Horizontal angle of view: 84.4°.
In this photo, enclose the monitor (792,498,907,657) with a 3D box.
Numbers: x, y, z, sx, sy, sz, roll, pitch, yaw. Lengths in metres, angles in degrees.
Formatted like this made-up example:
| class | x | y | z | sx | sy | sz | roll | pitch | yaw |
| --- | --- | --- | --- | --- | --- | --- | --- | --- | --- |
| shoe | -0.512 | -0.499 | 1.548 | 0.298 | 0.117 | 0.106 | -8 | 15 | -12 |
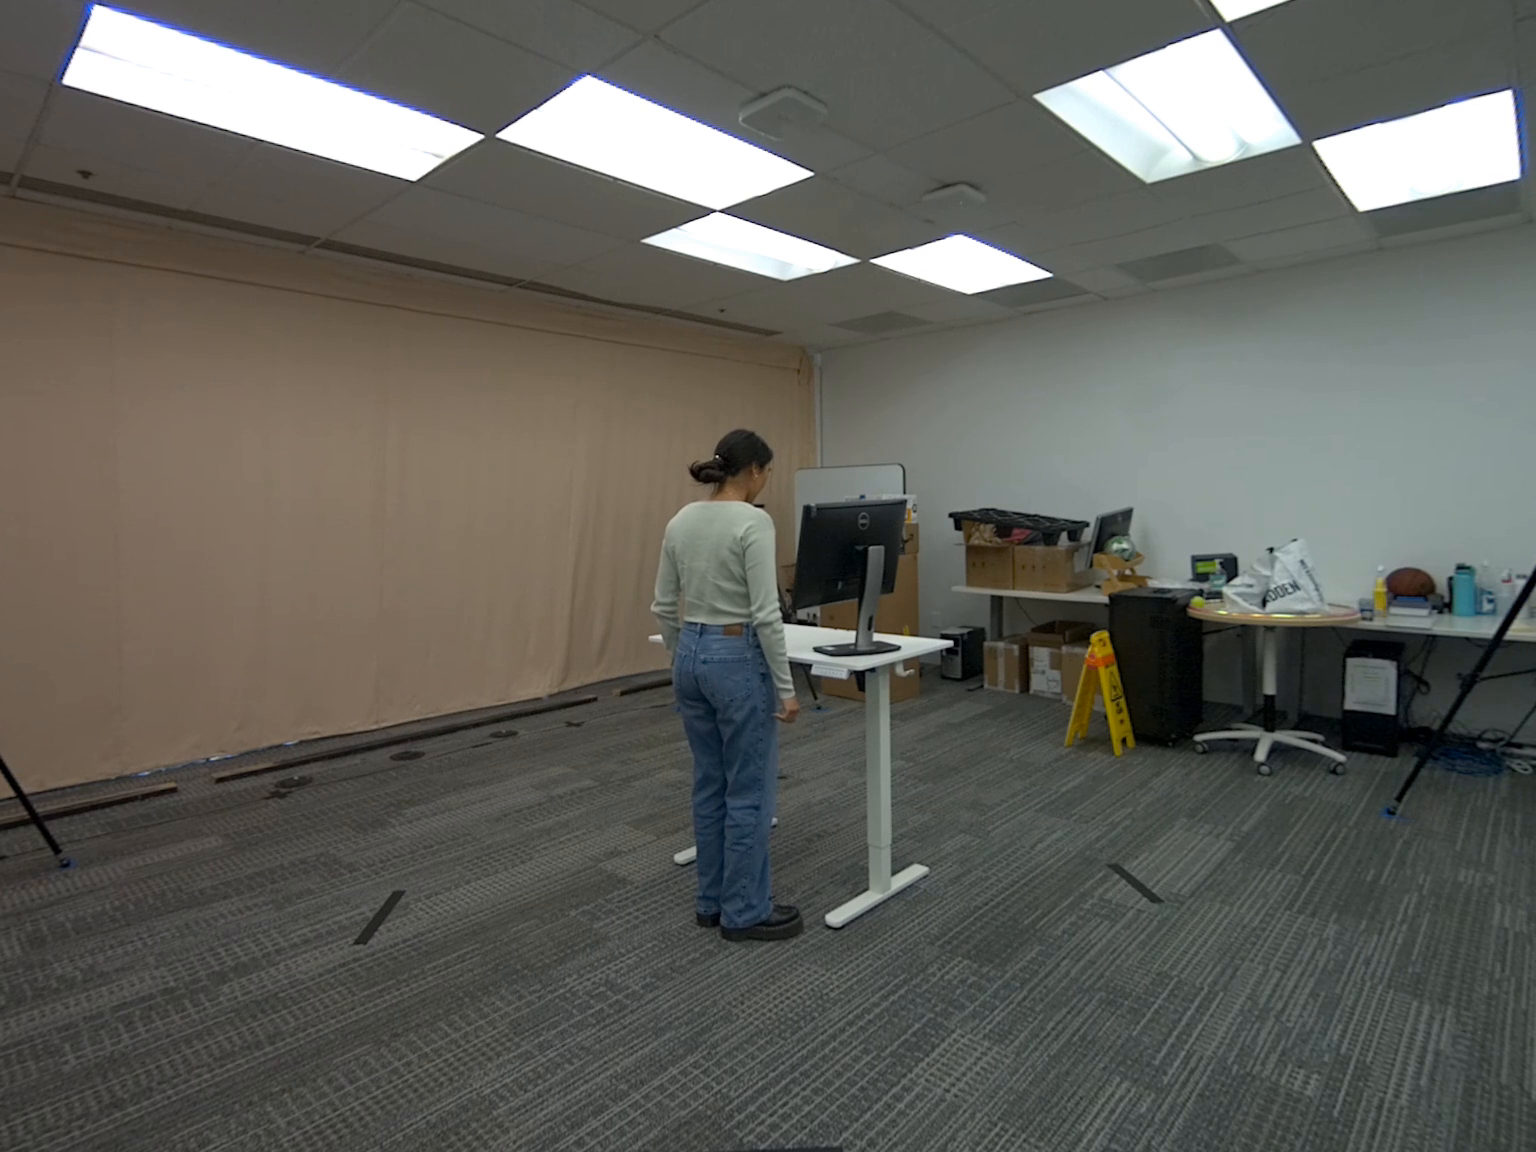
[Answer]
| class | x | y | z | sx | sy | sz | roll | pitch | yaw |
| --- | --- | --- | --- | --- | --- | --- | --- | --- | --- |
| monitor | 0.317 | 0.008 | 2.858 | 0.523 | 0.521 | 0.193 | -6 | 6 | -43 |
